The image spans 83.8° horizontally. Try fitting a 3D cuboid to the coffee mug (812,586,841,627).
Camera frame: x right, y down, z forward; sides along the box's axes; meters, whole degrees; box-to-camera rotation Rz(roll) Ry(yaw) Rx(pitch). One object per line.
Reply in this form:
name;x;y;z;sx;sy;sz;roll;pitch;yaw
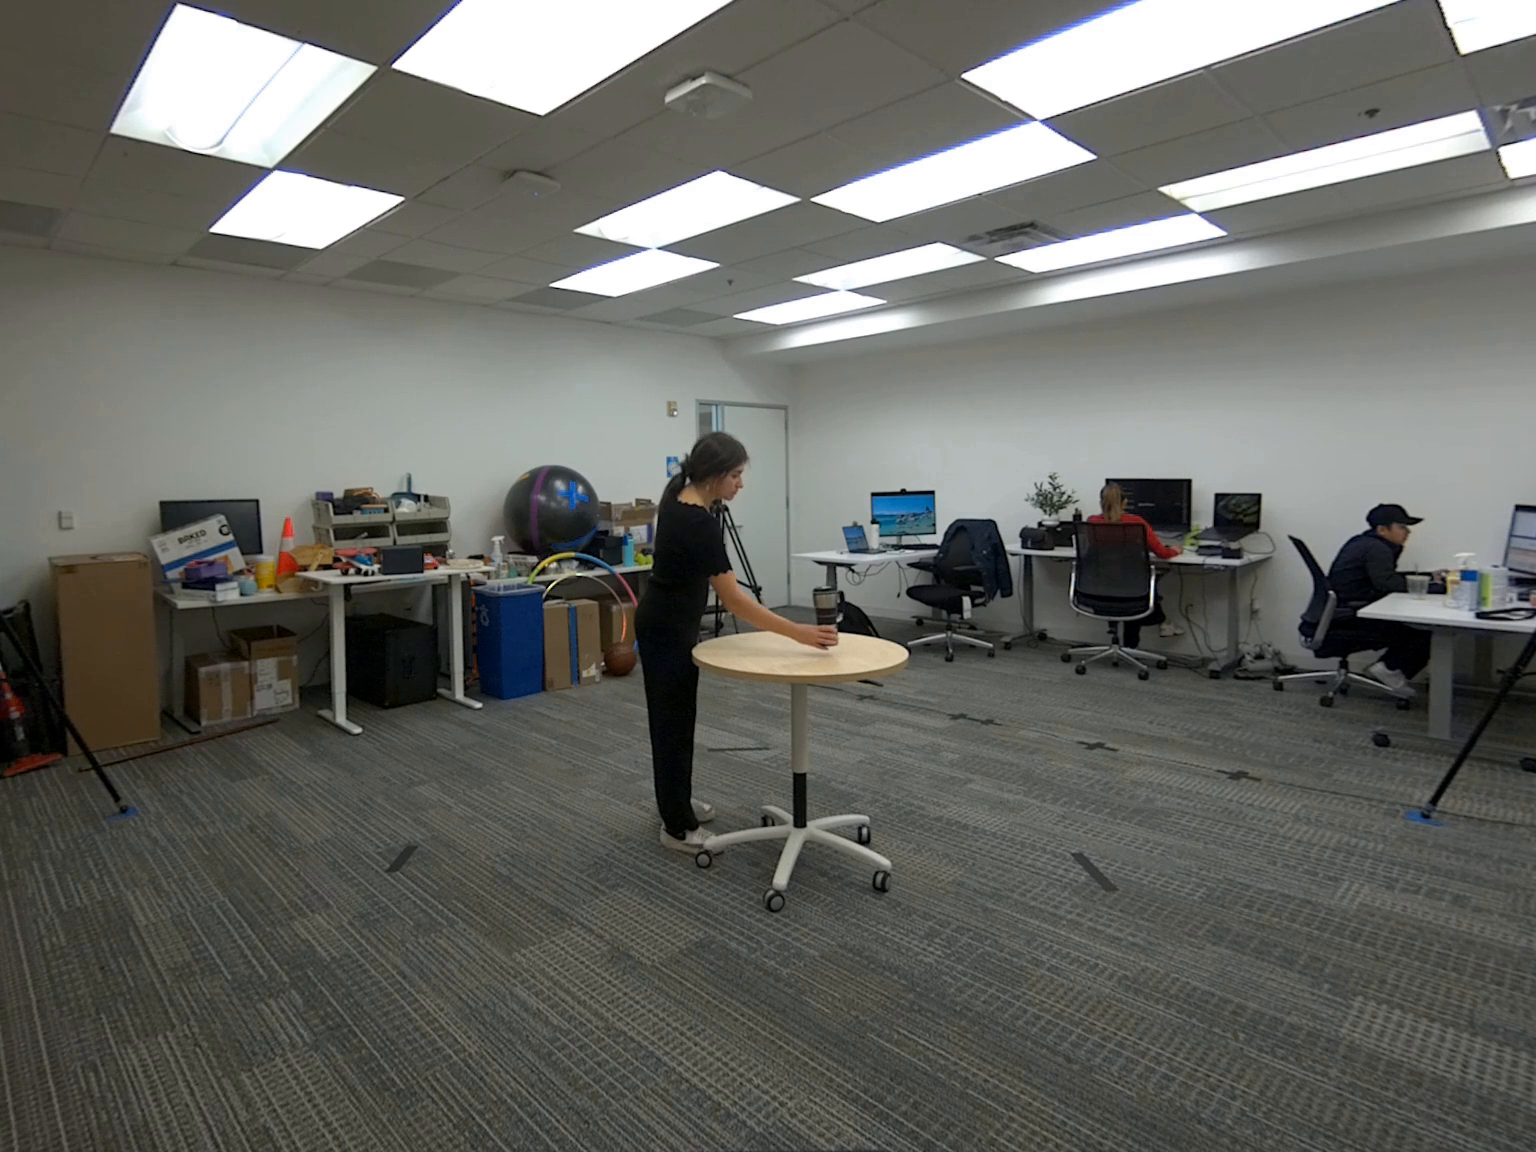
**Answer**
coffee mug;0.215;0.138;2.963;0.121;0.203;0.089;-7;1;-13
